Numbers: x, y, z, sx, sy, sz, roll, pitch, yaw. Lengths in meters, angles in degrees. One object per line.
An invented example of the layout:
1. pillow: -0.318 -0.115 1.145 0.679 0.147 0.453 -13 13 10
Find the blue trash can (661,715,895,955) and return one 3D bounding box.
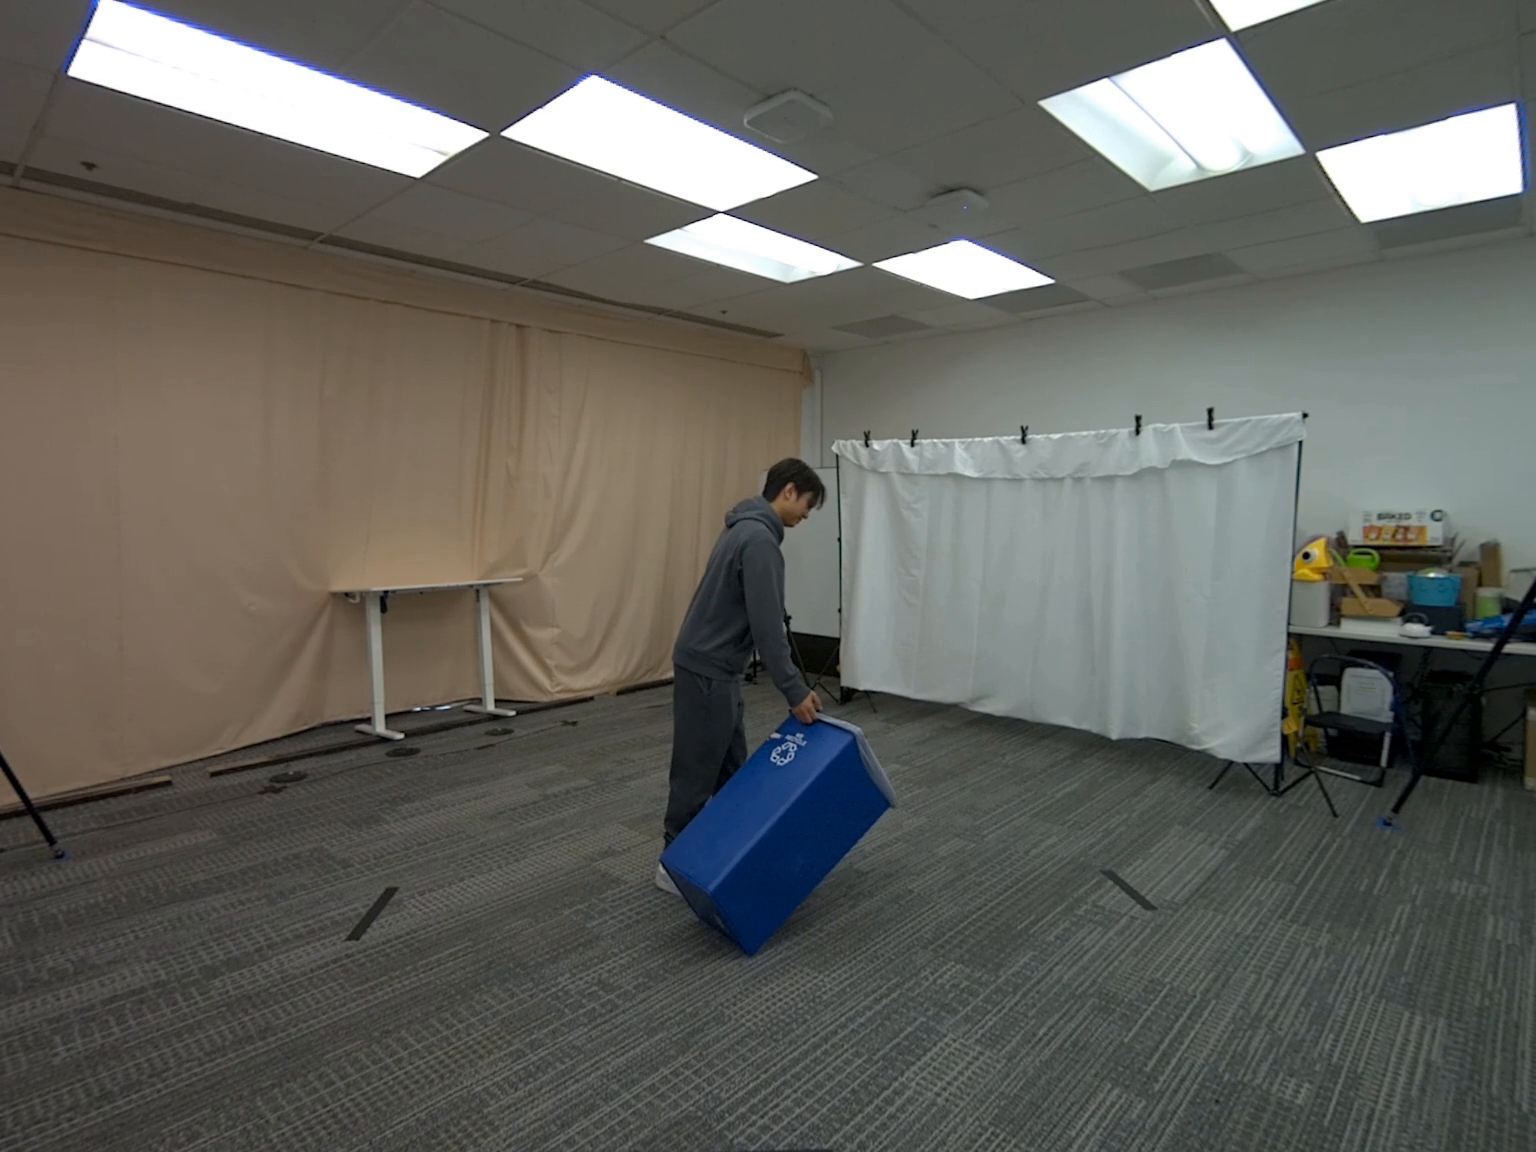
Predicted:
1. blue trash can: 0.047 0.837 2.813 0.707 0.369 0.386 -42 26 -27
